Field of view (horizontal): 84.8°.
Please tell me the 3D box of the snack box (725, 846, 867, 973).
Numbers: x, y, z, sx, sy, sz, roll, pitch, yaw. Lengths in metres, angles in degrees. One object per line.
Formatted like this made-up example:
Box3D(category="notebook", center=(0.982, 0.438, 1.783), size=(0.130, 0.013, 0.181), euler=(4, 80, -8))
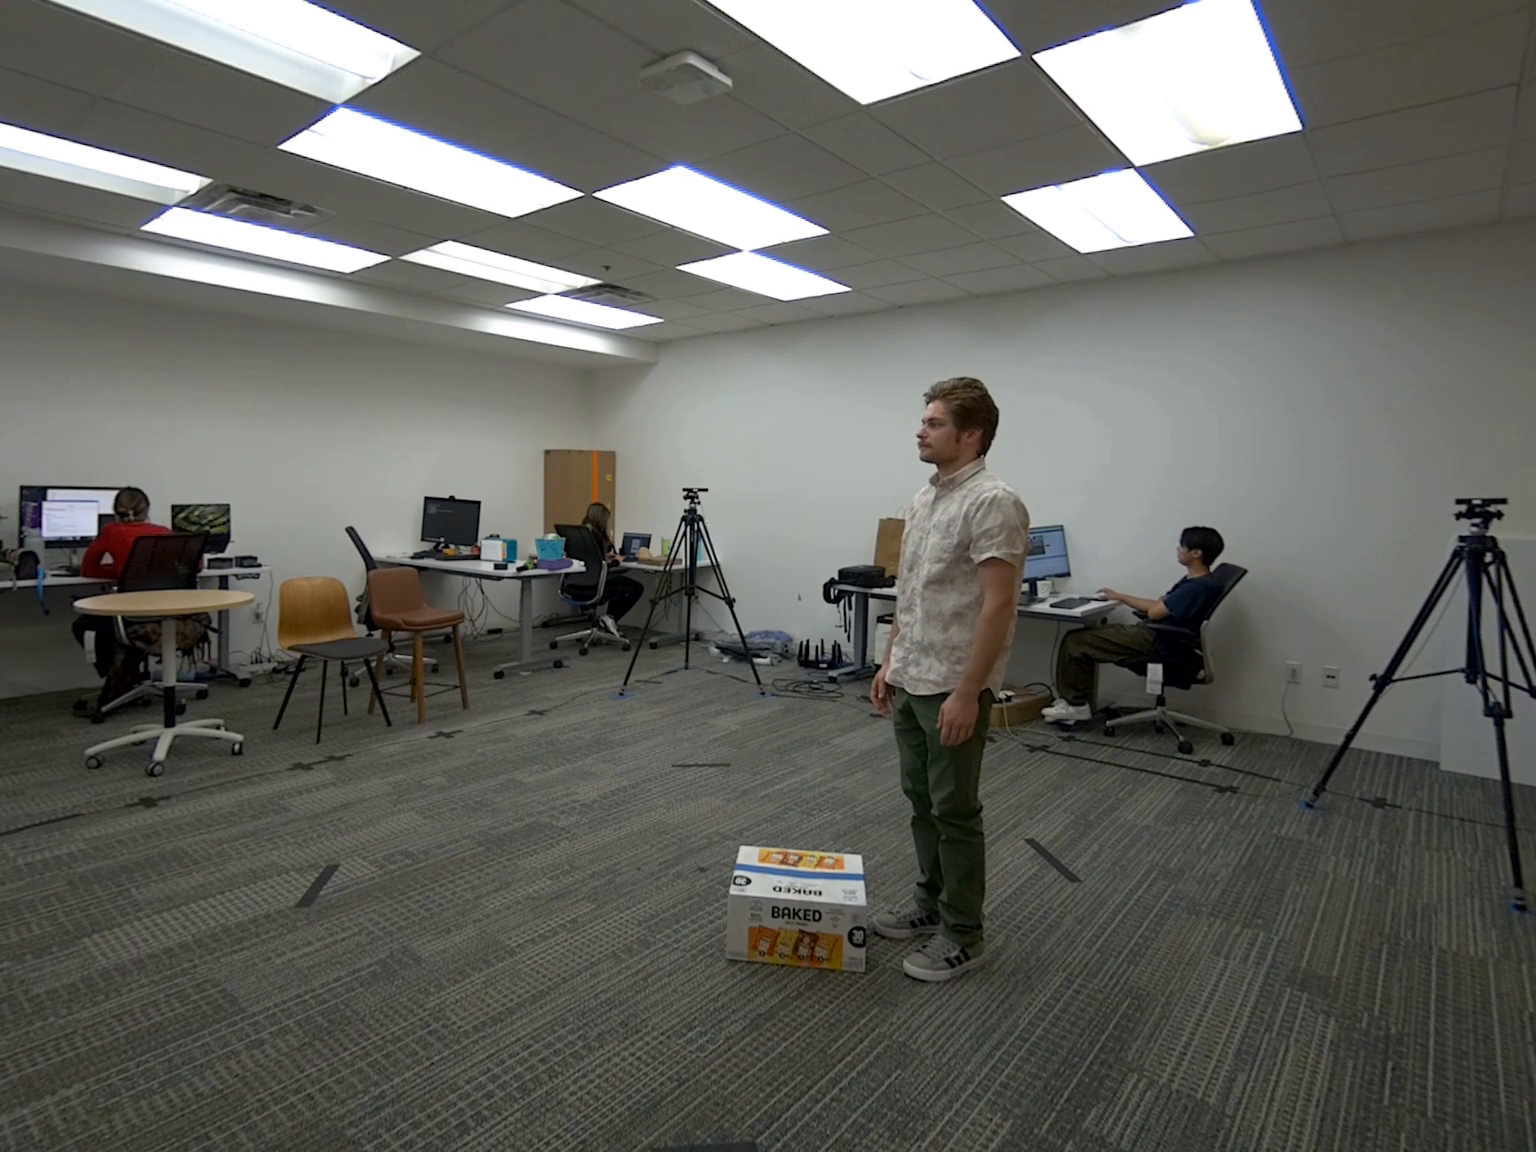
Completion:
Box3D(category="snack box", center=(0.088, 1.019, 2.638), size=(0.408, 0.205, 0.339), euler=(2, 5, 5))
